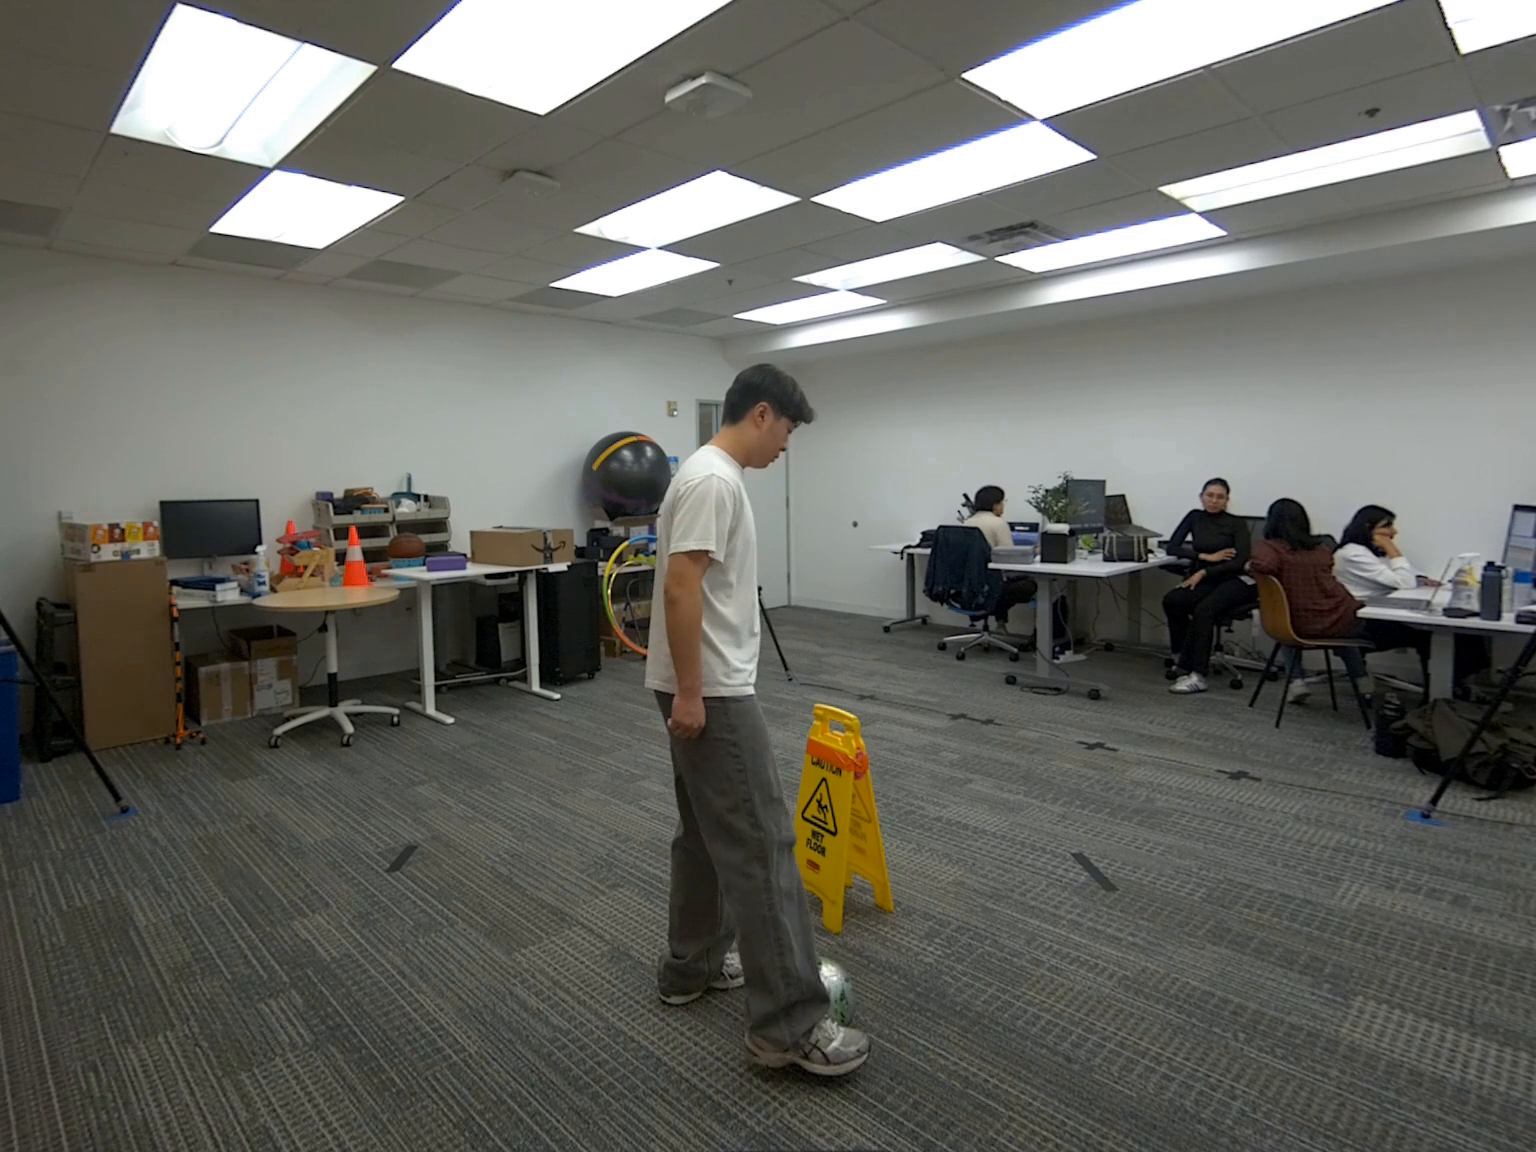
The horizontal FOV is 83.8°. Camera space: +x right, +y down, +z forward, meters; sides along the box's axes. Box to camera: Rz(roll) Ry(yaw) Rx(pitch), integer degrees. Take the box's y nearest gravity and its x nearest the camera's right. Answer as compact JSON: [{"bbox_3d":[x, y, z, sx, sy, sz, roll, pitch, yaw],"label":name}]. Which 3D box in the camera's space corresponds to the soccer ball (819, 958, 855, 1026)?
[{"bbox_3d":[0.137,1.059,2.164,0.187,0.187,0.188,-1,5,-2],"label":"soccer ball"}]
